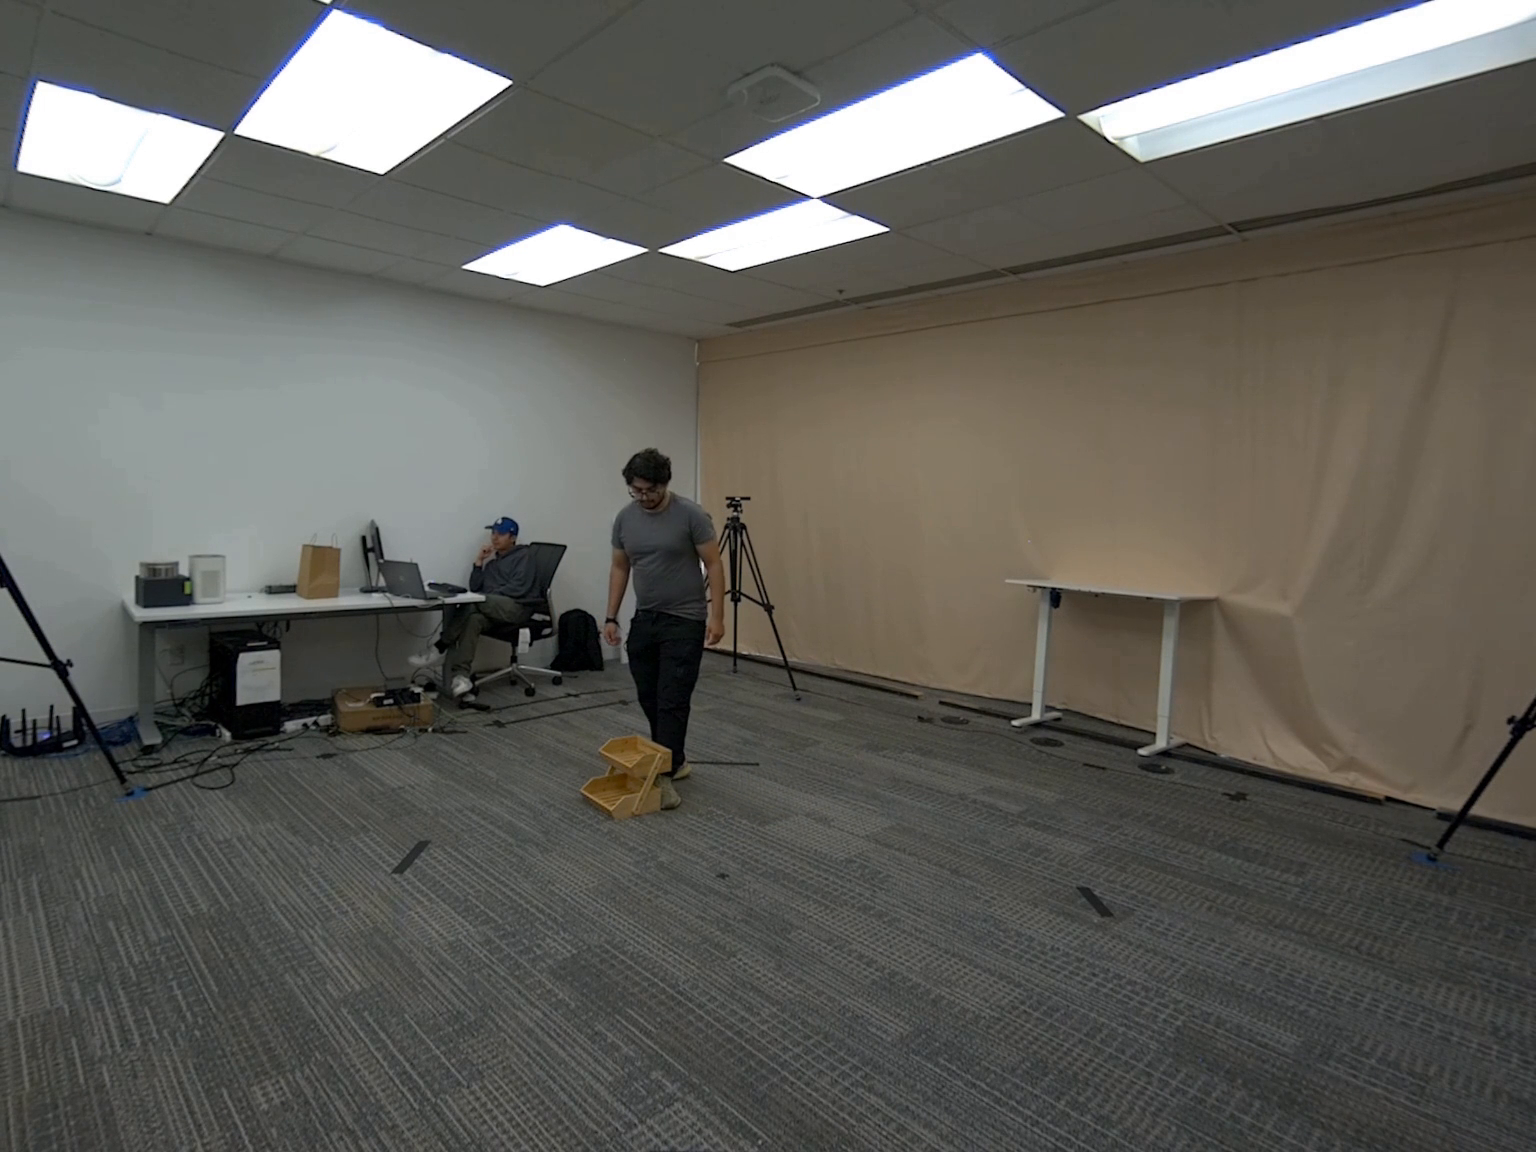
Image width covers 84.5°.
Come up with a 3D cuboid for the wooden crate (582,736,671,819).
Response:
[{"bbox_3d":[-0.663,0.900,3.809,0.295,0.273,0.333,-1,5,-38],"label":"wooden crate"}]
